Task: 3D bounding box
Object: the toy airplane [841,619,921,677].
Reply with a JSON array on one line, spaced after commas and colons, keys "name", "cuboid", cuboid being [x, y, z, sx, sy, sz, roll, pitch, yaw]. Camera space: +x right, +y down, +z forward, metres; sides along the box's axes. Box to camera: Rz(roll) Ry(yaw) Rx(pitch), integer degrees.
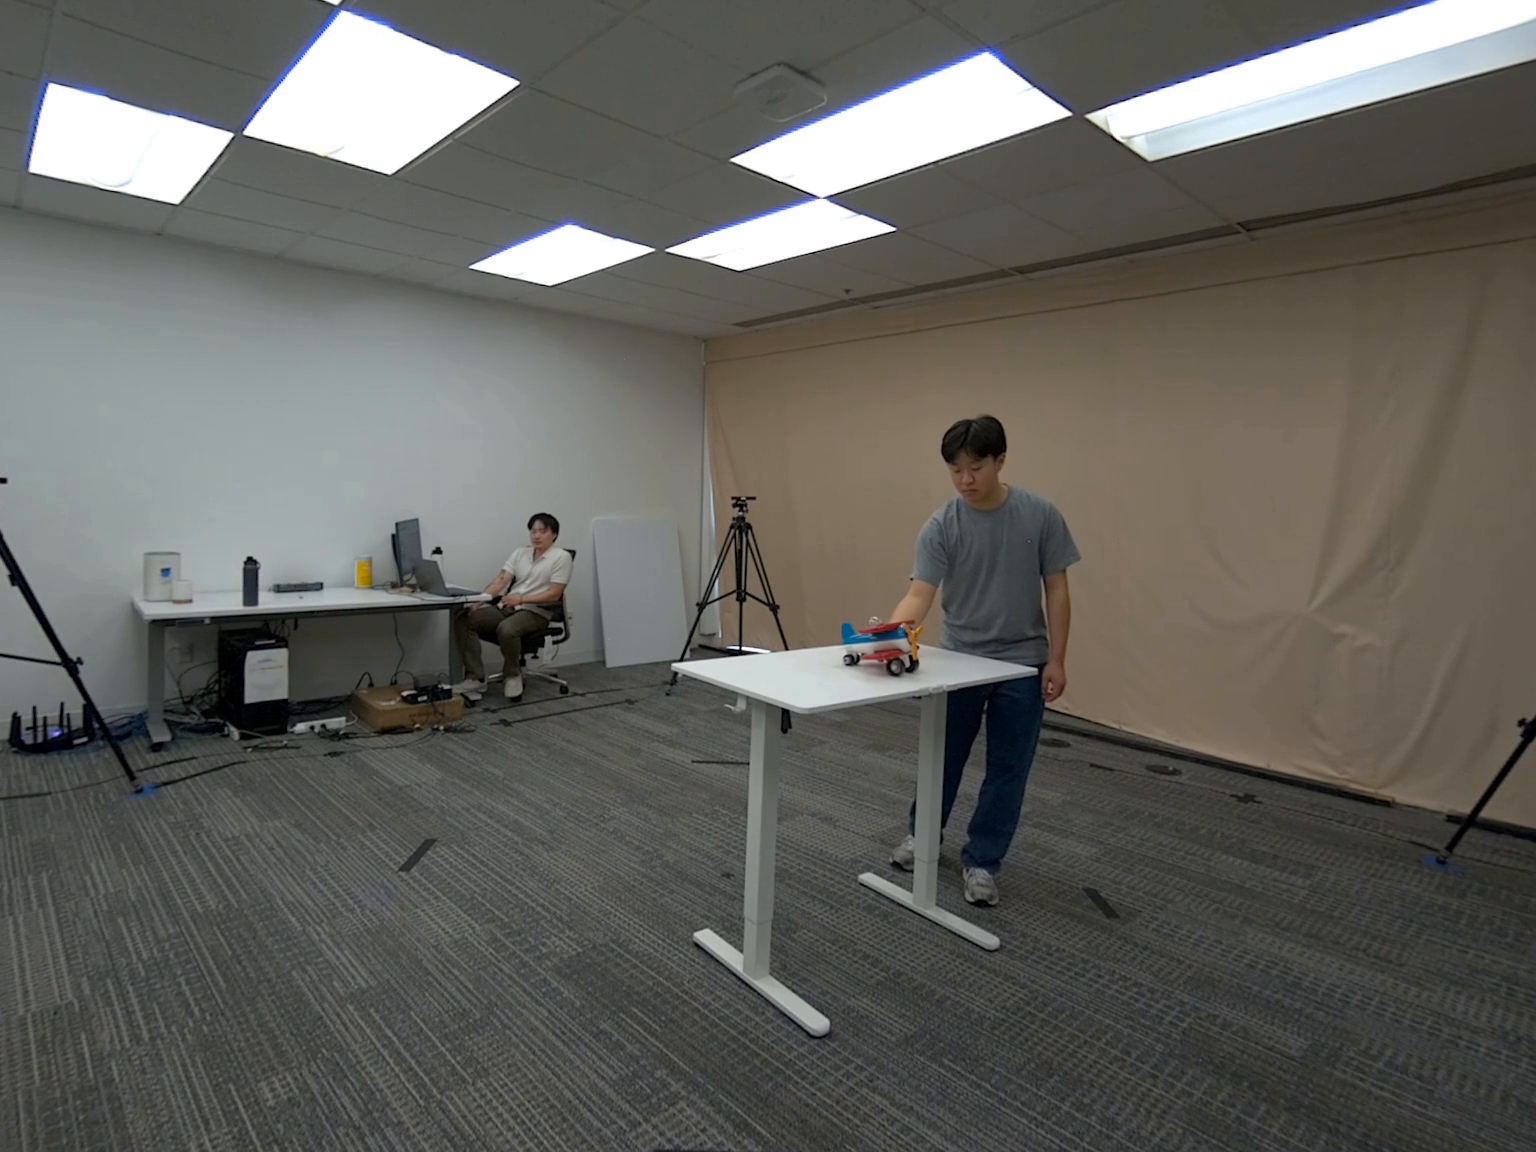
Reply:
[{"name": "toy airplane", "cuboid": [0.320, 0.210, 2.536, 0.262, 0.156, 0.249, 4, 4, 10]}]
